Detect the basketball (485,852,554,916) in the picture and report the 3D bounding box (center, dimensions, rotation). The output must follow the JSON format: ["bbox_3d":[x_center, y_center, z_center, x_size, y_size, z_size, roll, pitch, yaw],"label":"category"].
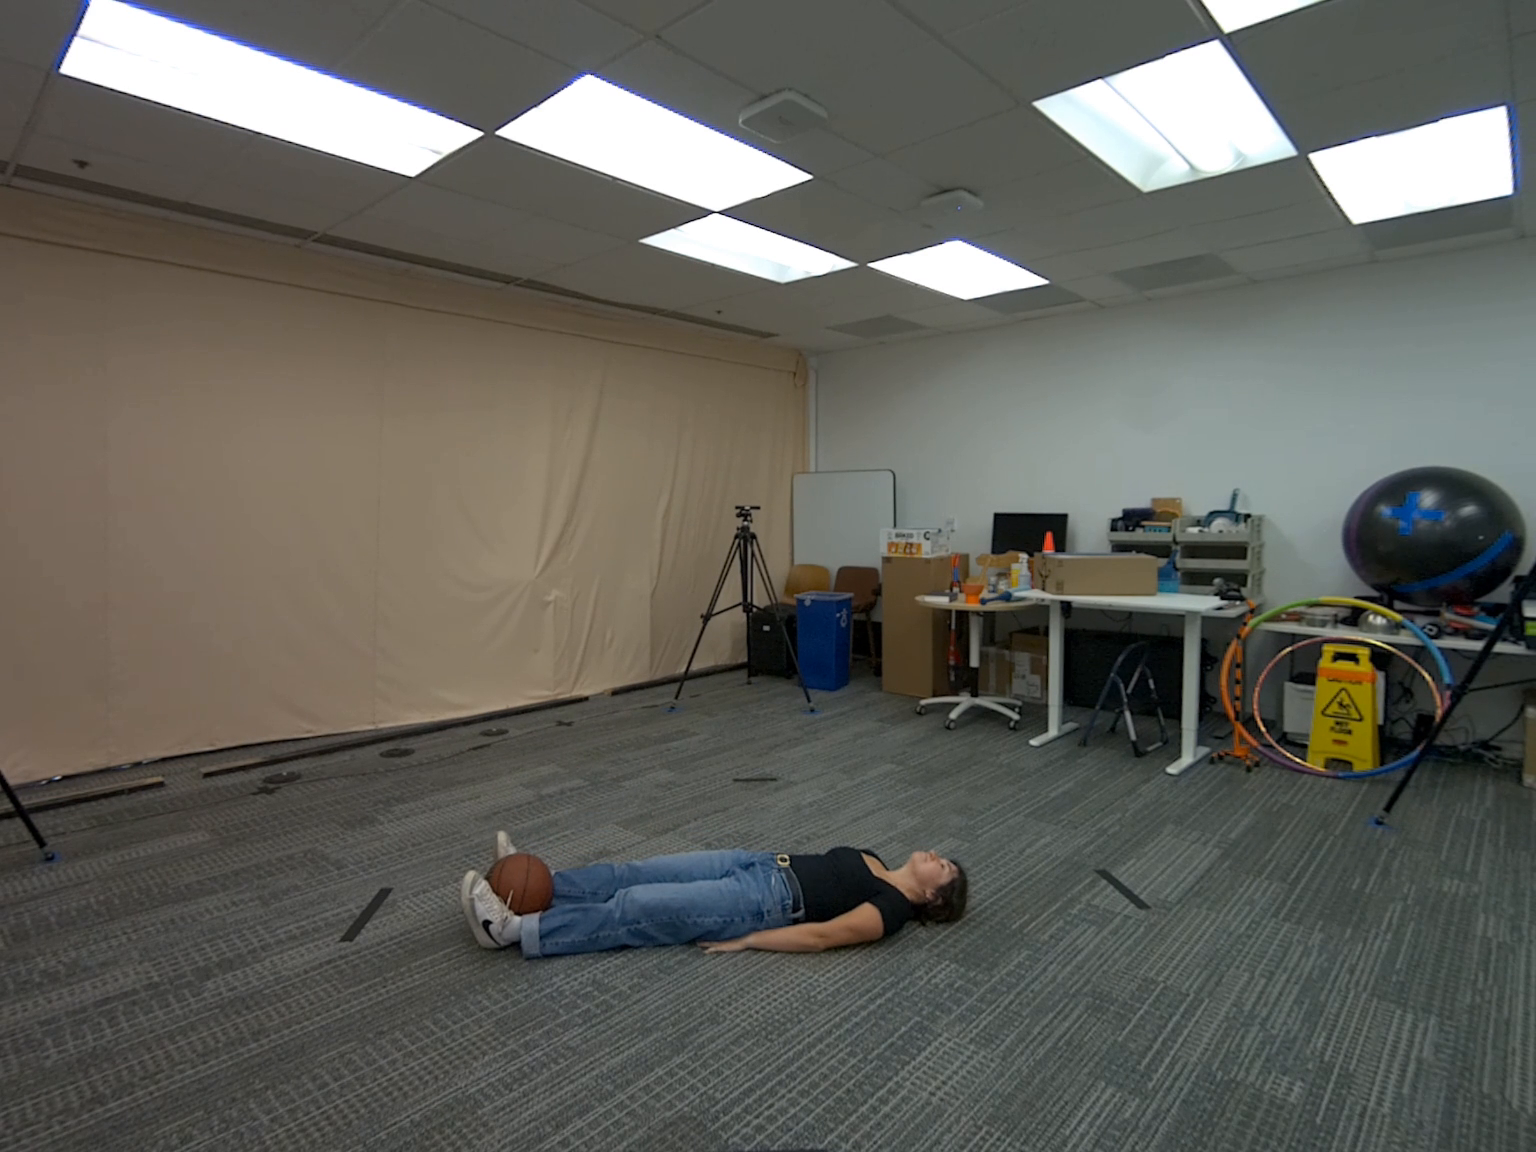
[{"bbox_3d":[-0.830,1.046,2.788,0.236,0.235,0.237,0,4,-2],"label":"basketball"}]
